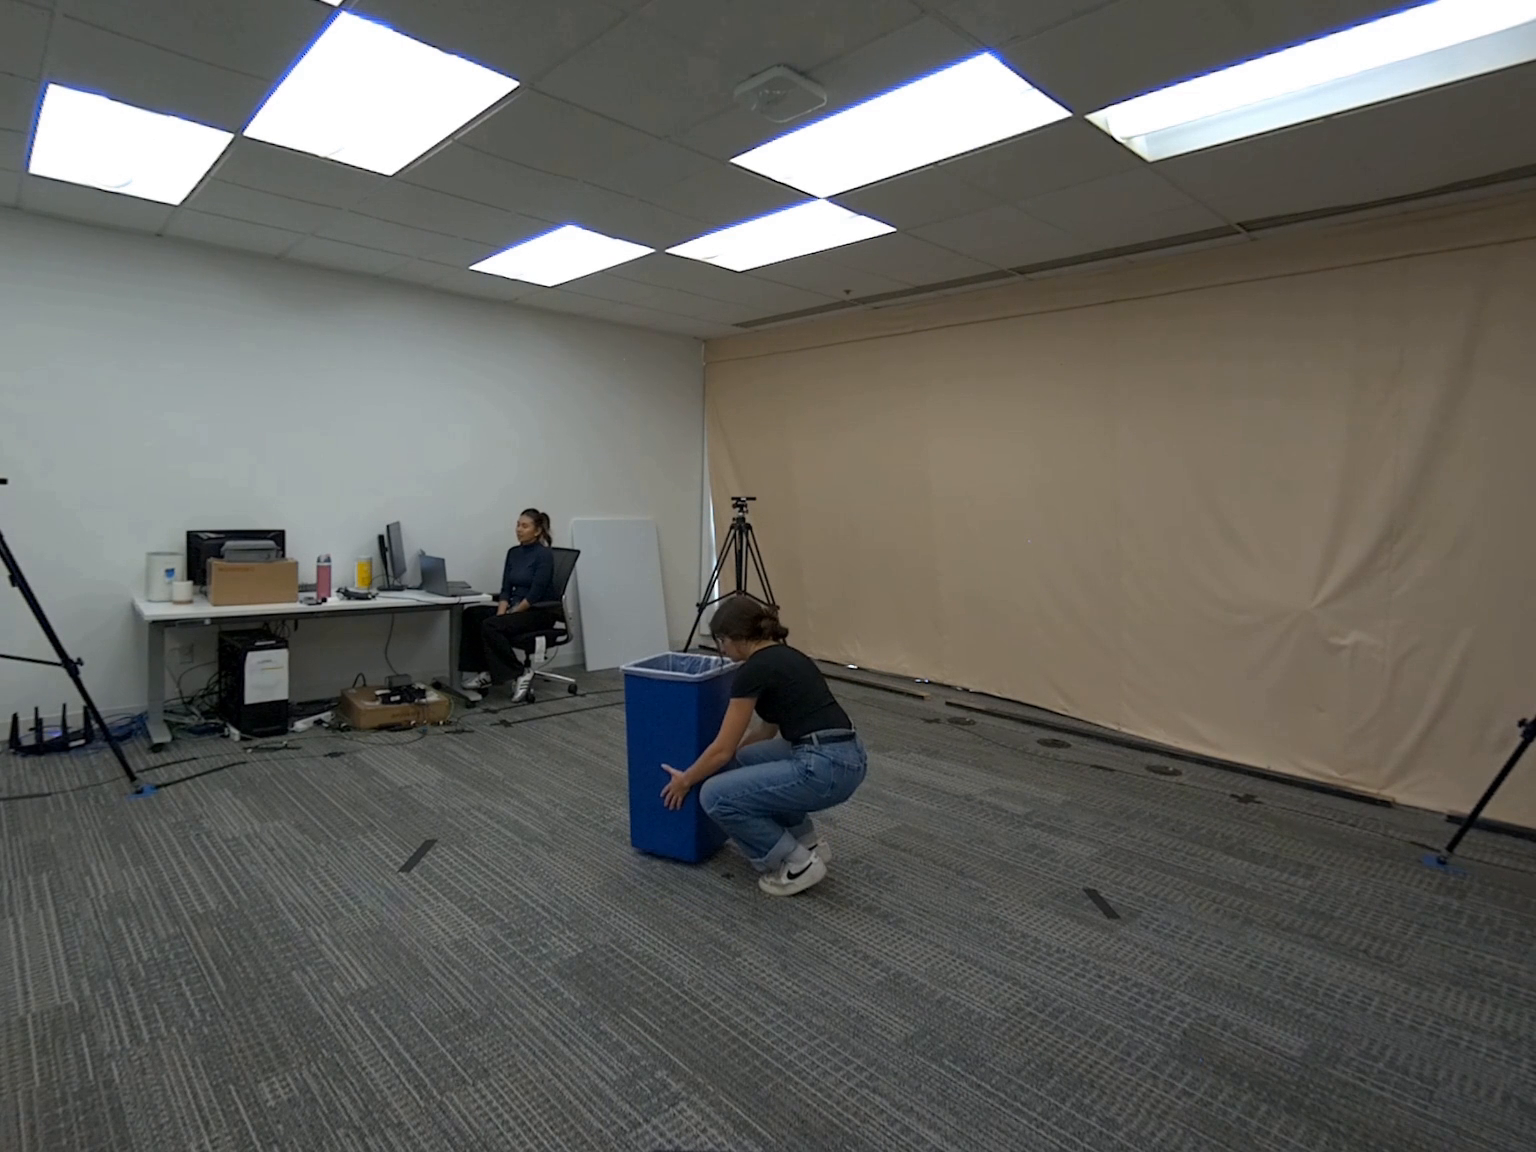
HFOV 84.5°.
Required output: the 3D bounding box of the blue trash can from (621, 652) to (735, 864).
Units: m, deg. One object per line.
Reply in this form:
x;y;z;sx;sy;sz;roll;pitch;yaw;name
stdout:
-0.341;0.692;3.306;0.386;0.712;0.367;2;3;27;blue trash can
